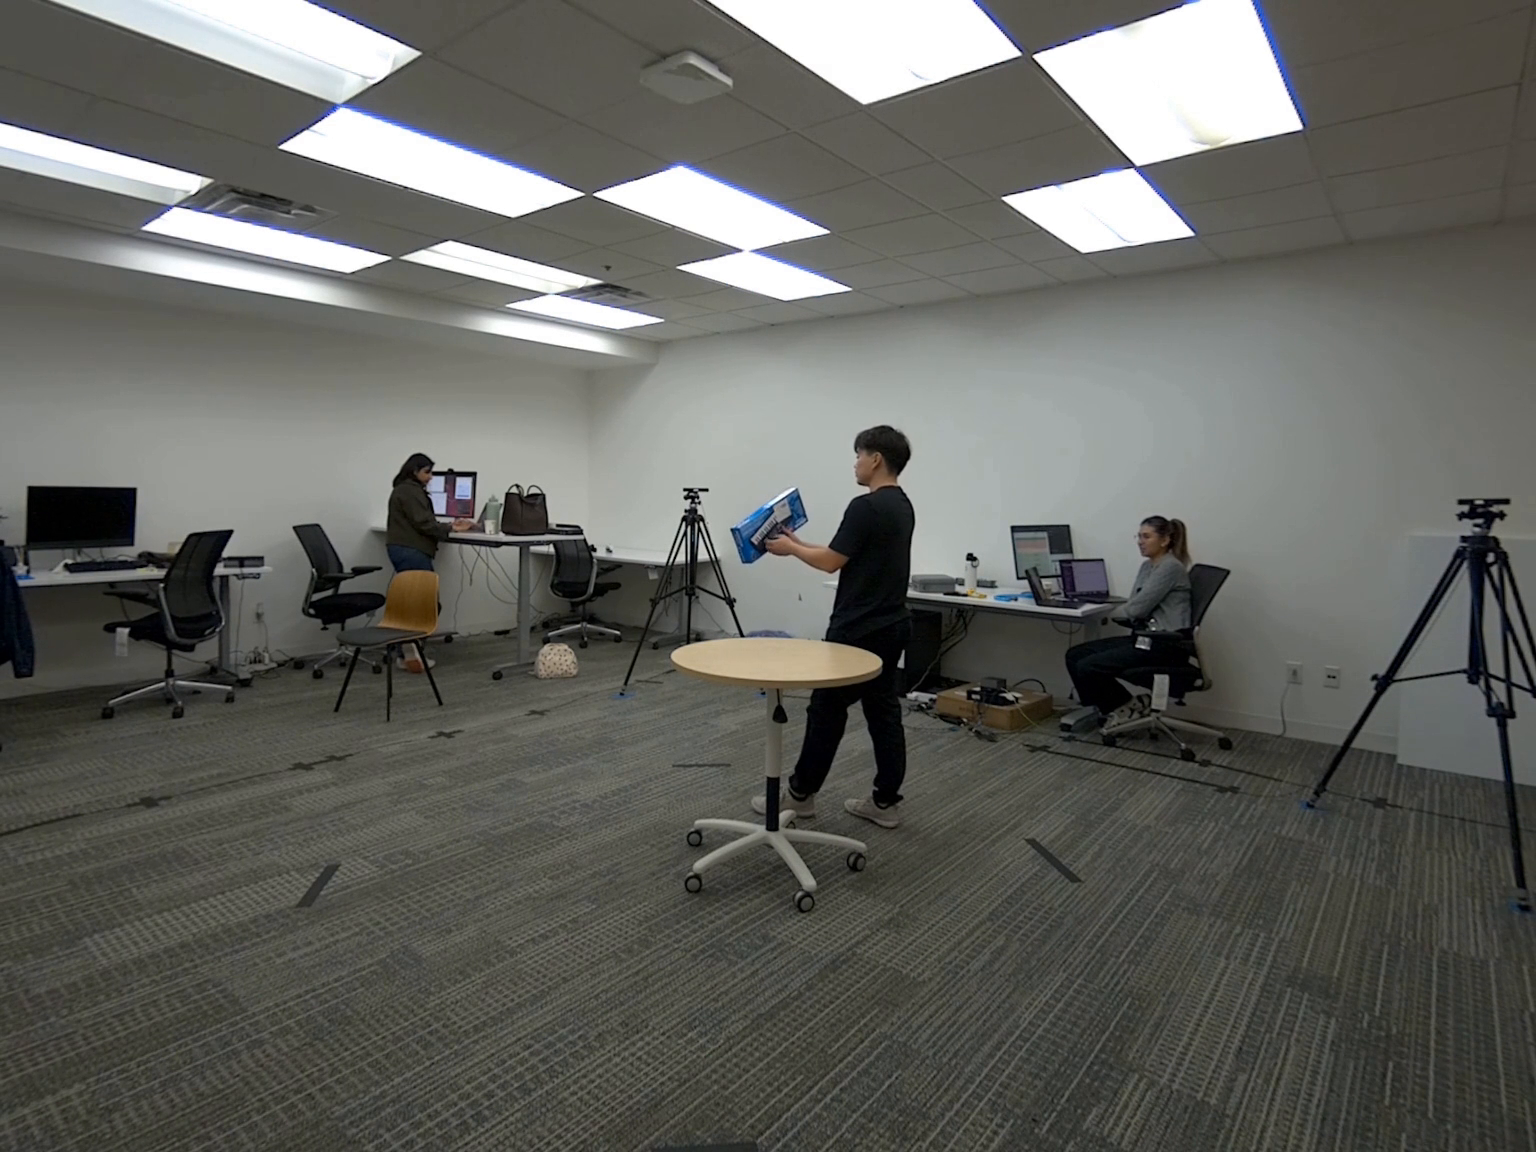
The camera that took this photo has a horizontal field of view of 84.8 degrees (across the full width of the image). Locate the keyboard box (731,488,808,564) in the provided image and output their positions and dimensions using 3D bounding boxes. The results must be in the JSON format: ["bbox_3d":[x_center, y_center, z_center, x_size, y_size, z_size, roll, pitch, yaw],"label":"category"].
[{"bbox_3d":[-0.001,-0.234,3.813,0.061,0.172,0.434,-2,28,43],"label":"keyboard box"}]
